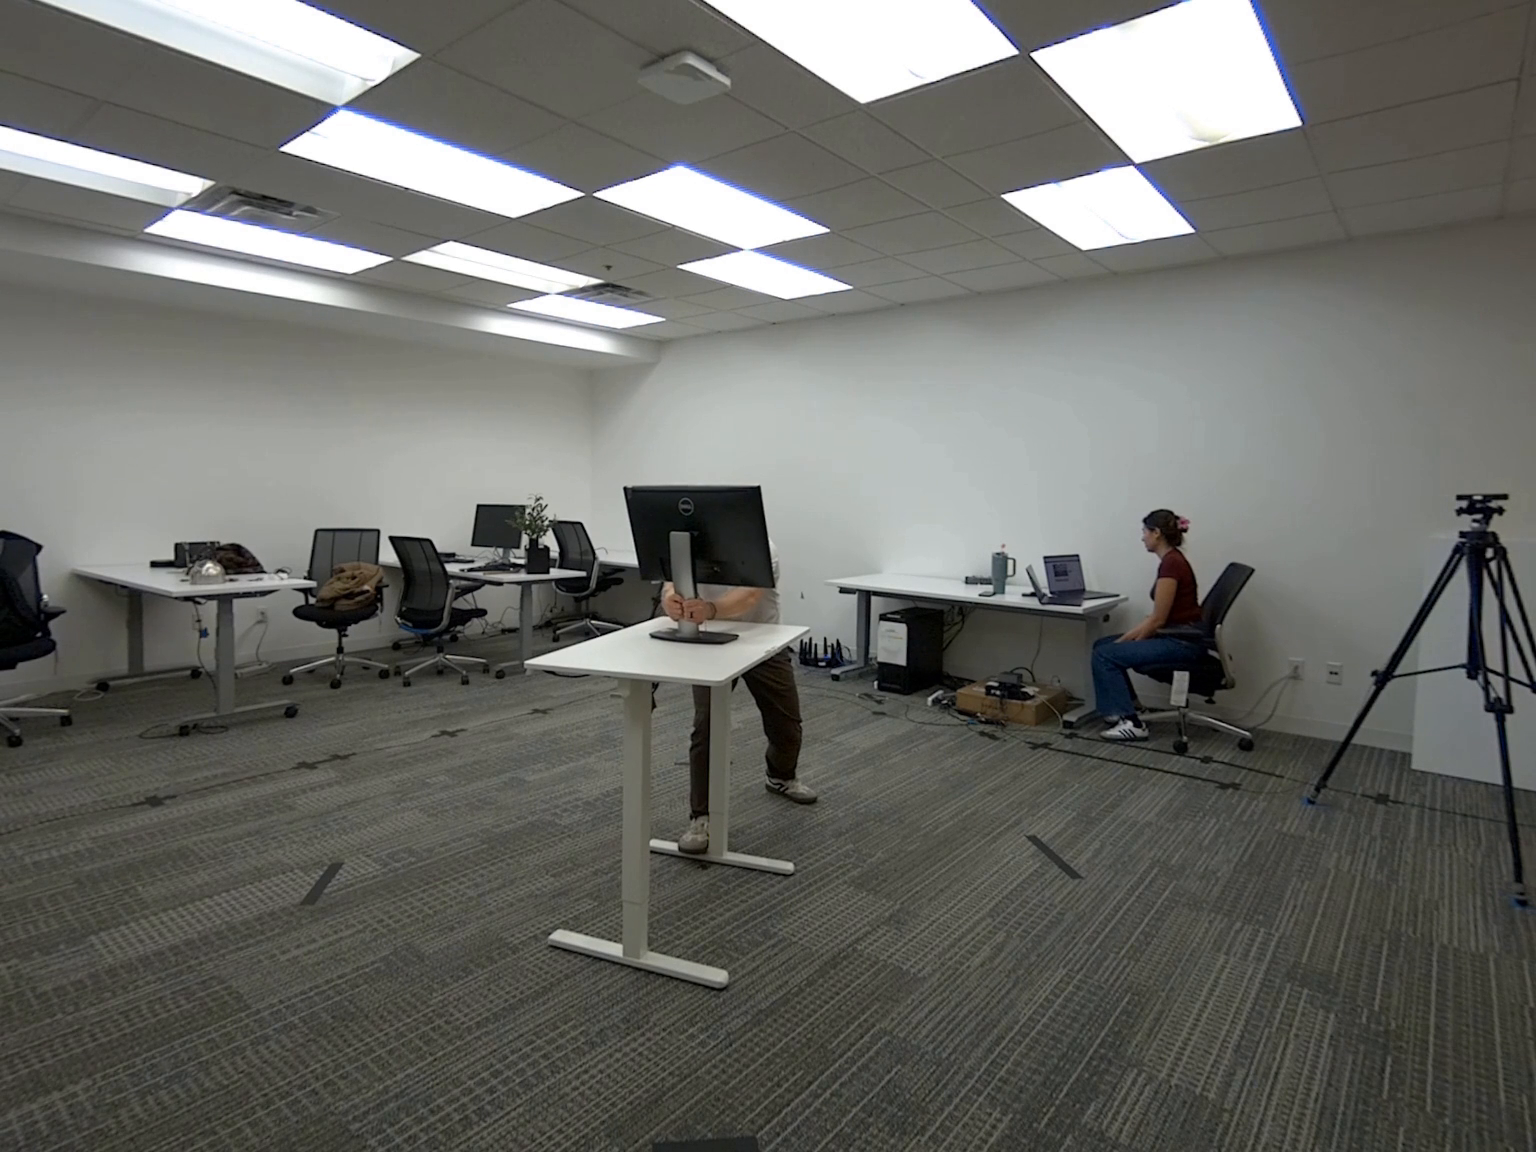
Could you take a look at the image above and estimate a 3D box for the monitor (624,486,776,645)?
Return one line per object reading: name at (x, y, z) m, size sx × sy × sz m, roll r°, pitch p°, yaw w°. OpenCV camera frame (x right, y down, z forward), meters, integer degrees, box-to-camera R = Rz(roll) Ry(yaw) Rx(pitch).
monitor at (-0.268, -0.048, 2.849) m, size 0.554 × 0.520 × 0.183 m, roll 2°, pitch 6°, yaw 28°
